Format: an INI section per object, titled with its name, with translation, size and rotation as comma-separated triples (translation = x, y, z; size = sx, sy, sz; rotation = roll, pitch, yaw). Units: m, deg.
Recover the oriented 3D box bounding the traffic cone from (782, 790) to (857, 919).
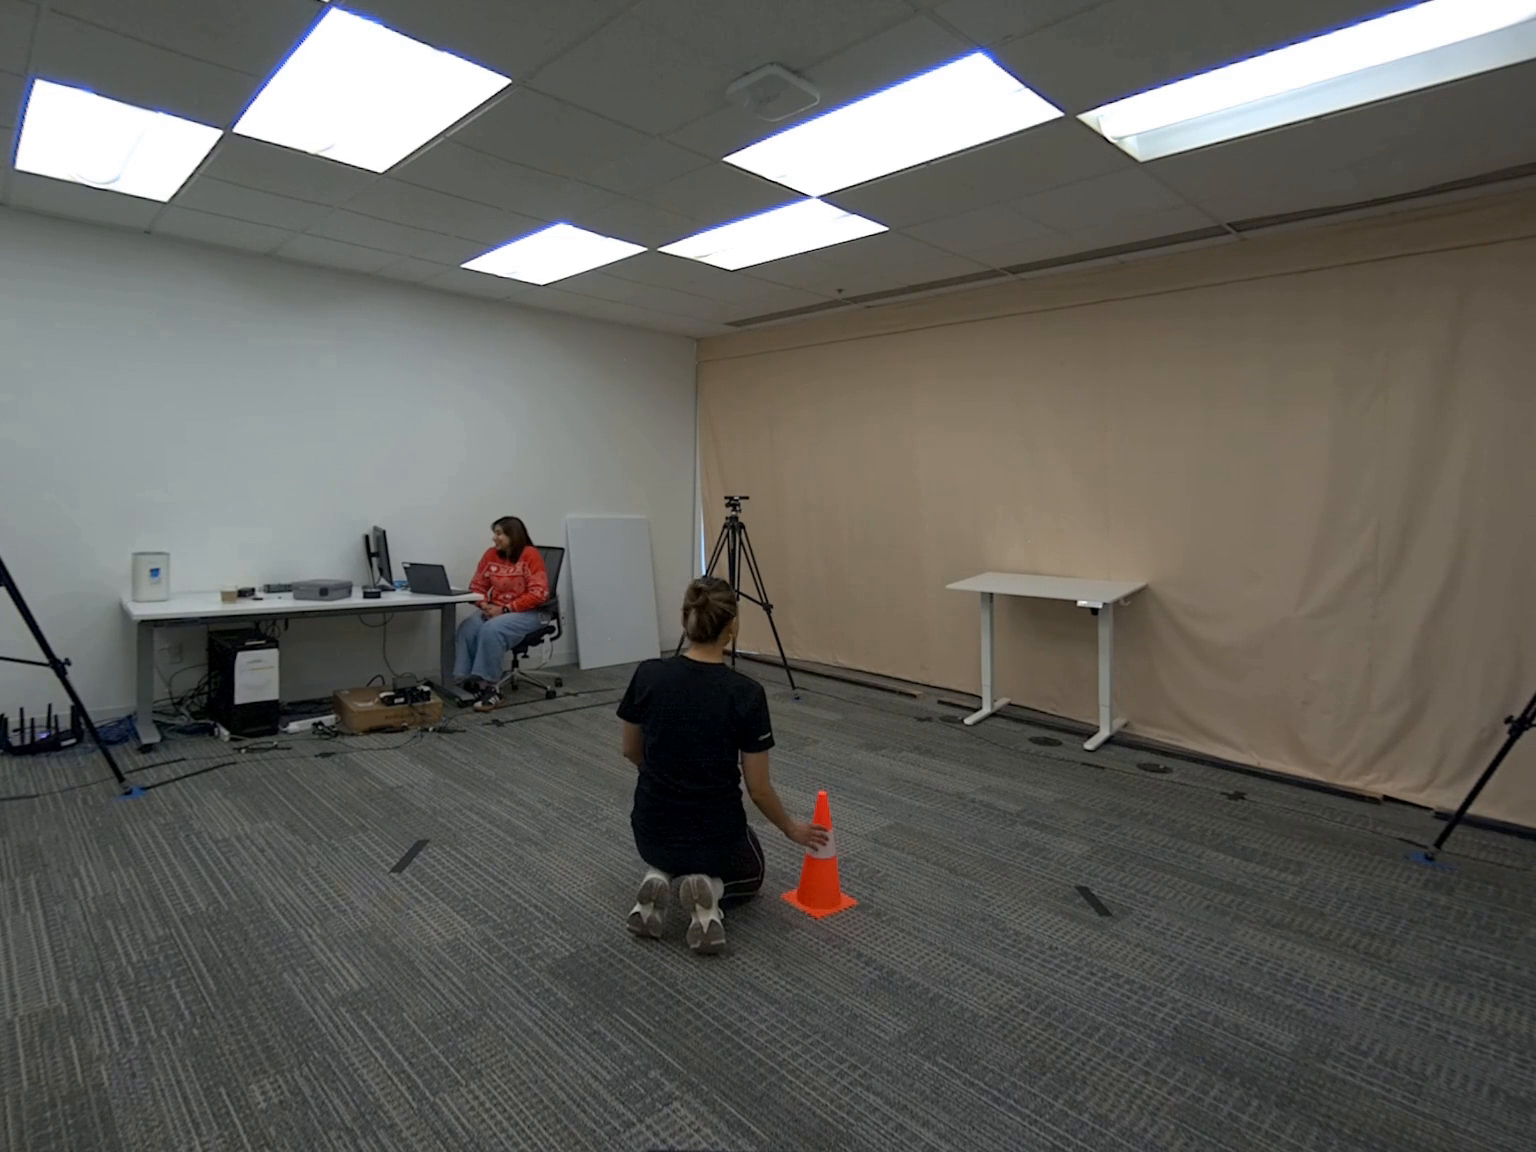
[traffic cone]
translation = 0.177, 0.941, 2.923
size = 0.198, 0.383, 0.210
rotation = -1, 4, -43
